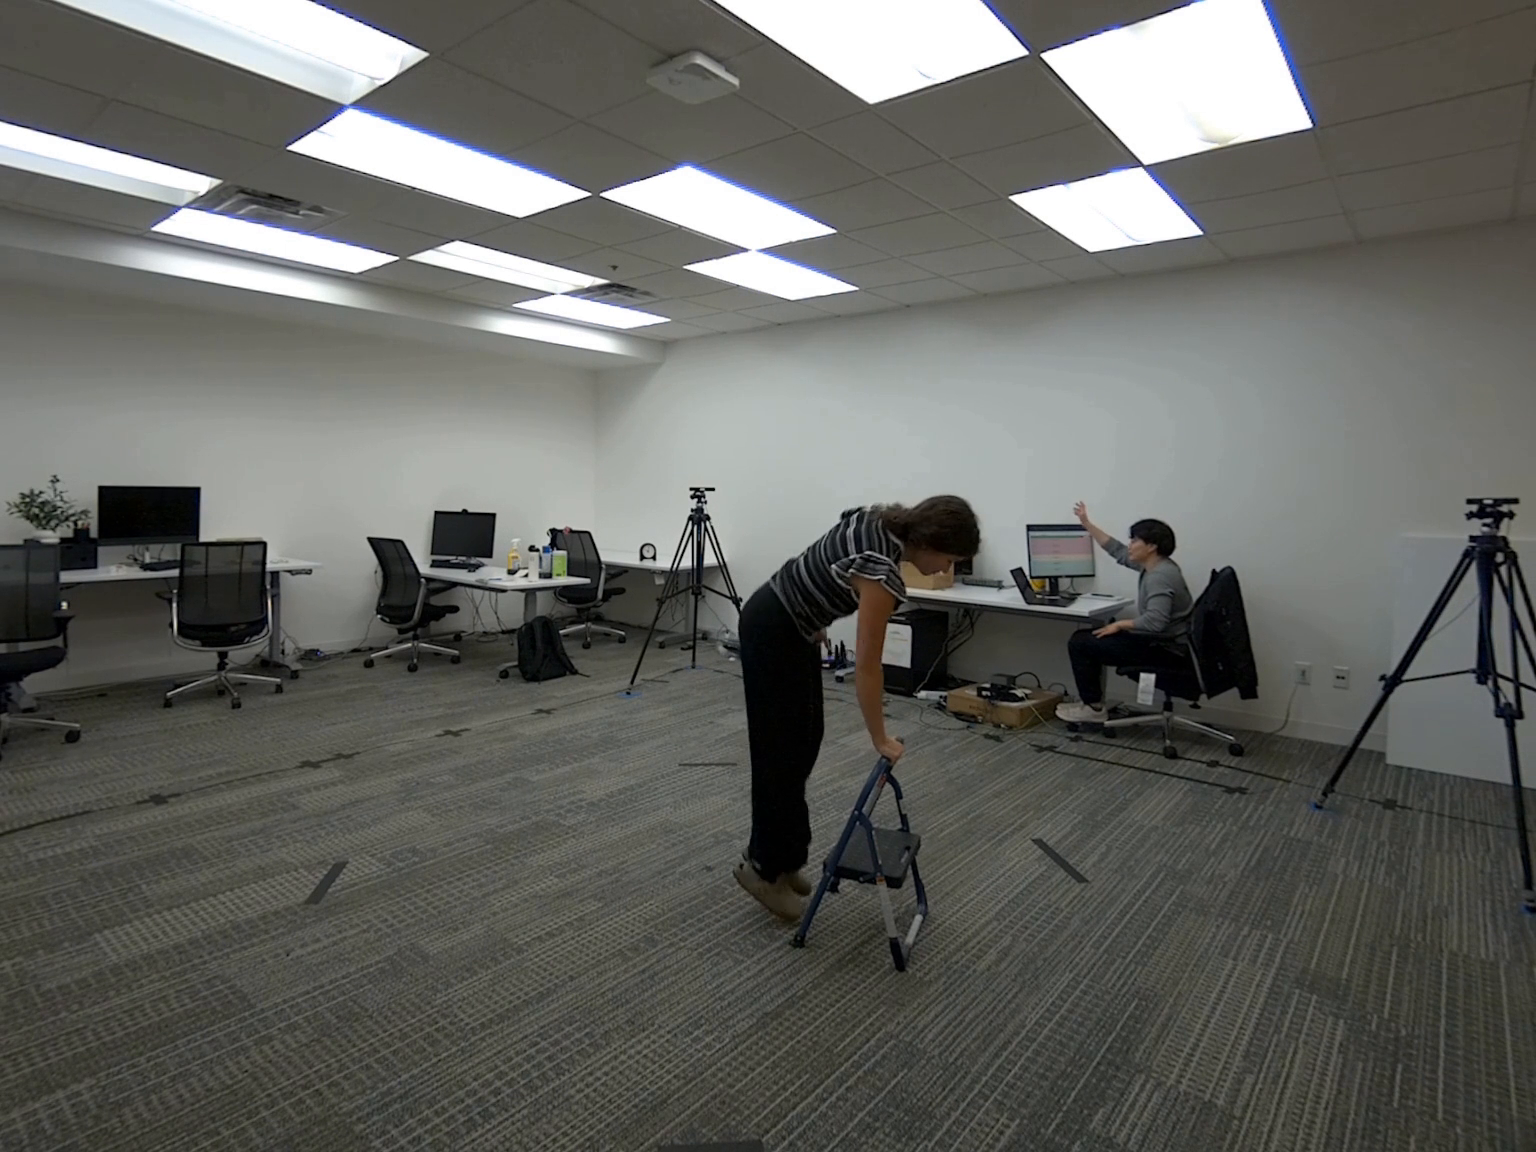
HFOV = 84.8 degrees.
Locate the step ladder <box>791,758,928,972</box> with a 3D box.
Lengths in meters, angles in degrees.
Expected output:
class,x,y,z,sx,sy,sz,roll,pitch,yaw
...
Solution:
class,x,y,z,sx,sy,sz,roll,pitch,yaw
step ladder,0.304,0.818,2.702,0.357,0.604,0.422,3,4,21
